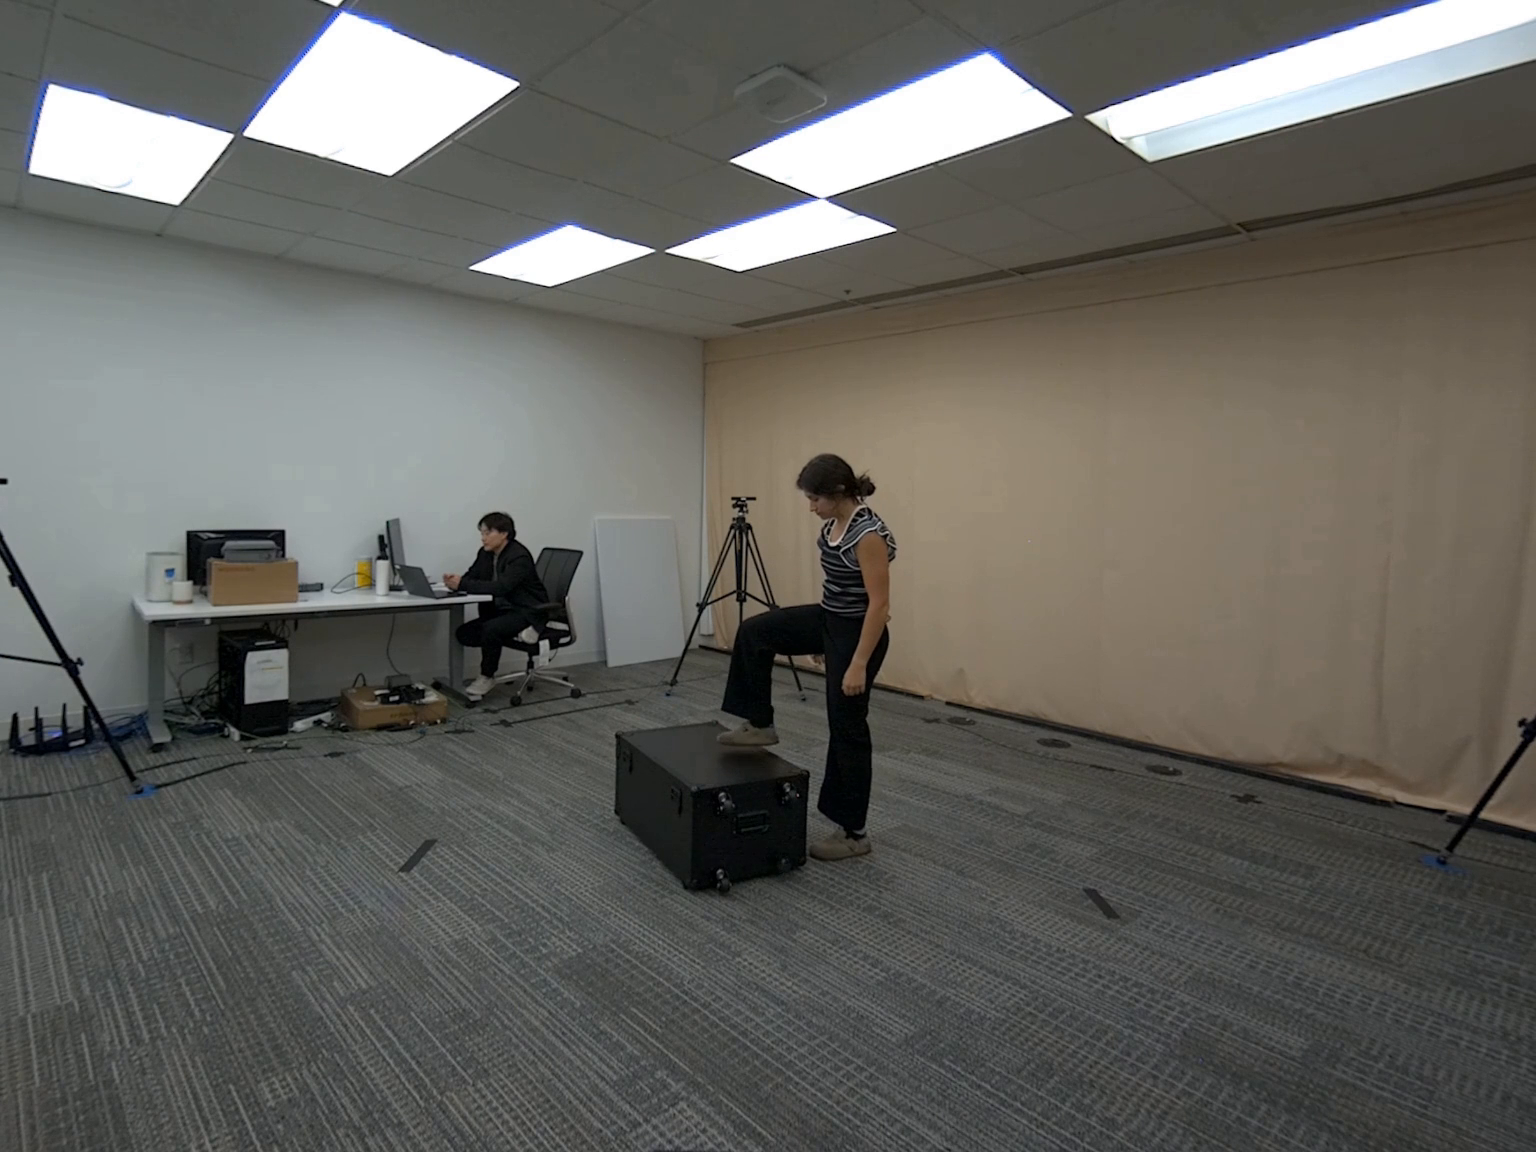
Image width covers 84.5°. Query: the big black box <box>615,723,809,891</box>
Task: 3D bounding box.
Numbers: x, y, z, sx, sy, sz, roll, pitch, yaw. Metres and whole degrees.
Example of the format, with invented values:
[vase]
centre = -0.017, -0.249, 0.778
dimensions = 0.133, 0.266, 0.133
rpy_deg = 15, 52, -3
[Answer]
[big black box]
centre = -0.246, 0.892, 3.356
dimensions = 0.511, 0.395, 0.881
rpy_deg = -1, 5, -29
